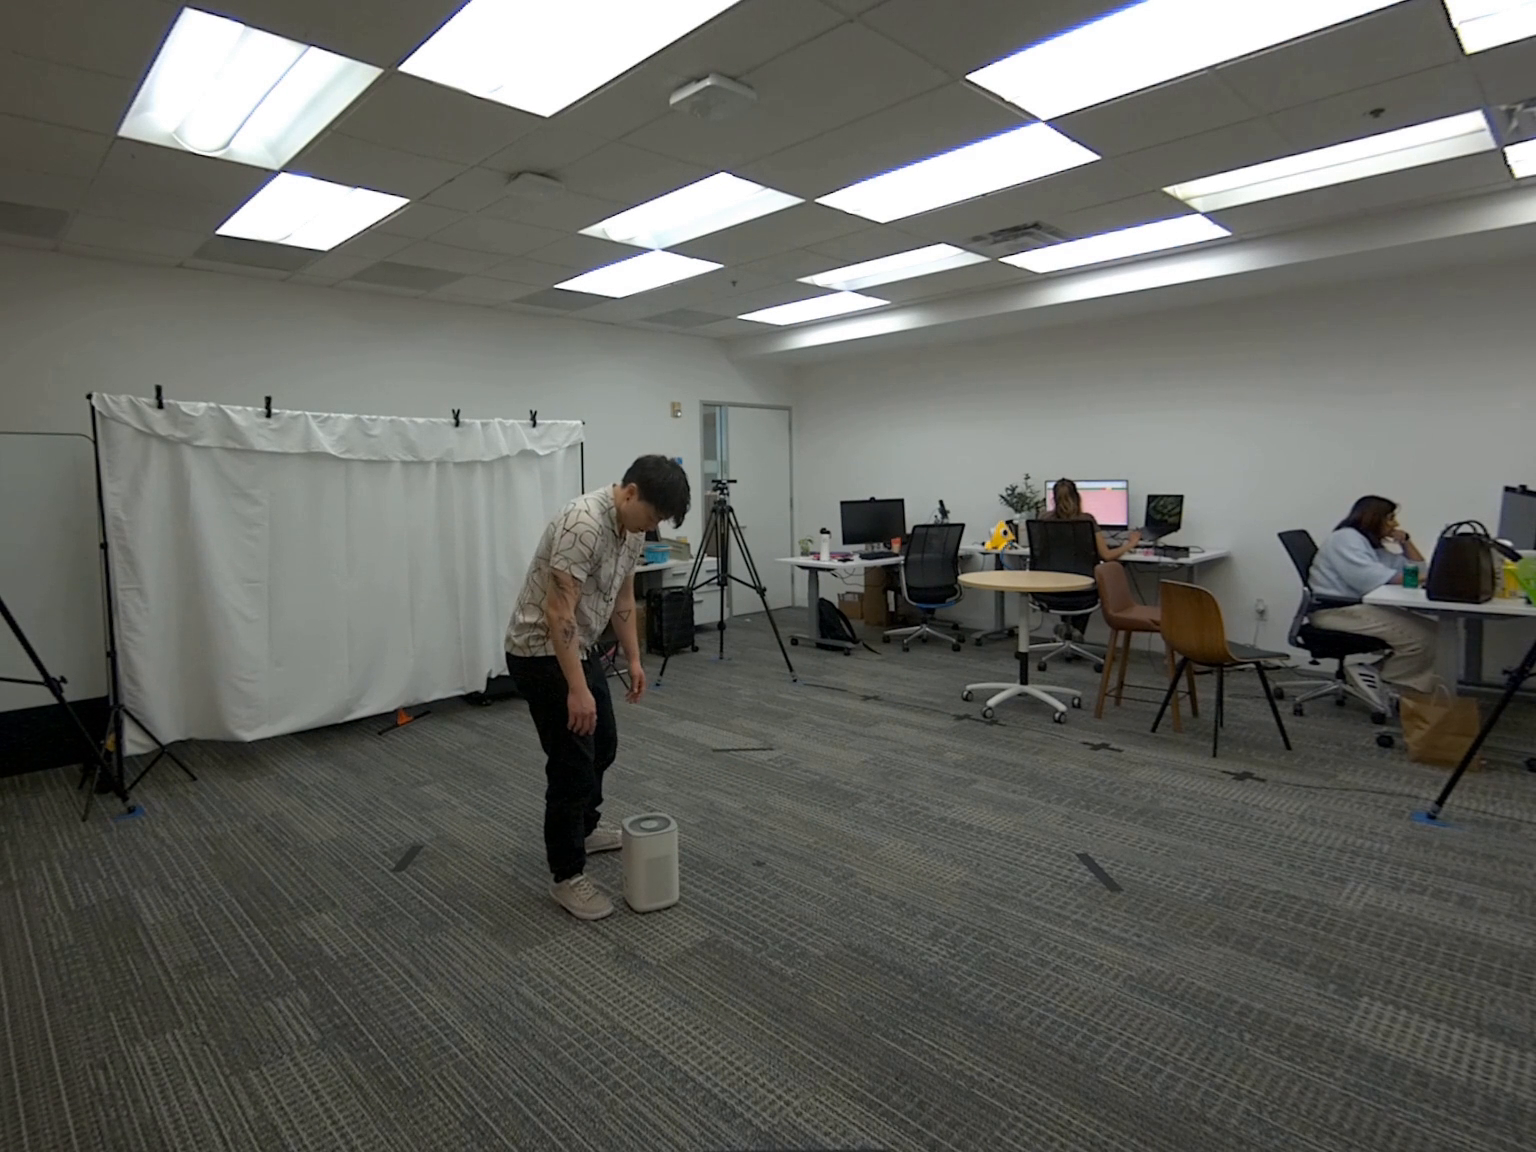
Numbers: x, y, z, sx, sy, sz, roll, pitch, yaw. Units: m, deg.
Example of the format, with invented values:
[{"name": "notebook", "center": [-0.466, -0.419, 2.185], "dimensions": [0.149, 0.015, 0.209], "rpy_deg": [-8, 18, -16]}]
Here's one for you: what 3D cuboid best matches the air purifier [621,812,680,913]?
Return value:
[{"name": "air purifier", "center": [-0.393, 0.950, 2.834], "dimensions": [0.167, 0.264, 0.176], "rpy_deg": [-3, 5, -26]}]
